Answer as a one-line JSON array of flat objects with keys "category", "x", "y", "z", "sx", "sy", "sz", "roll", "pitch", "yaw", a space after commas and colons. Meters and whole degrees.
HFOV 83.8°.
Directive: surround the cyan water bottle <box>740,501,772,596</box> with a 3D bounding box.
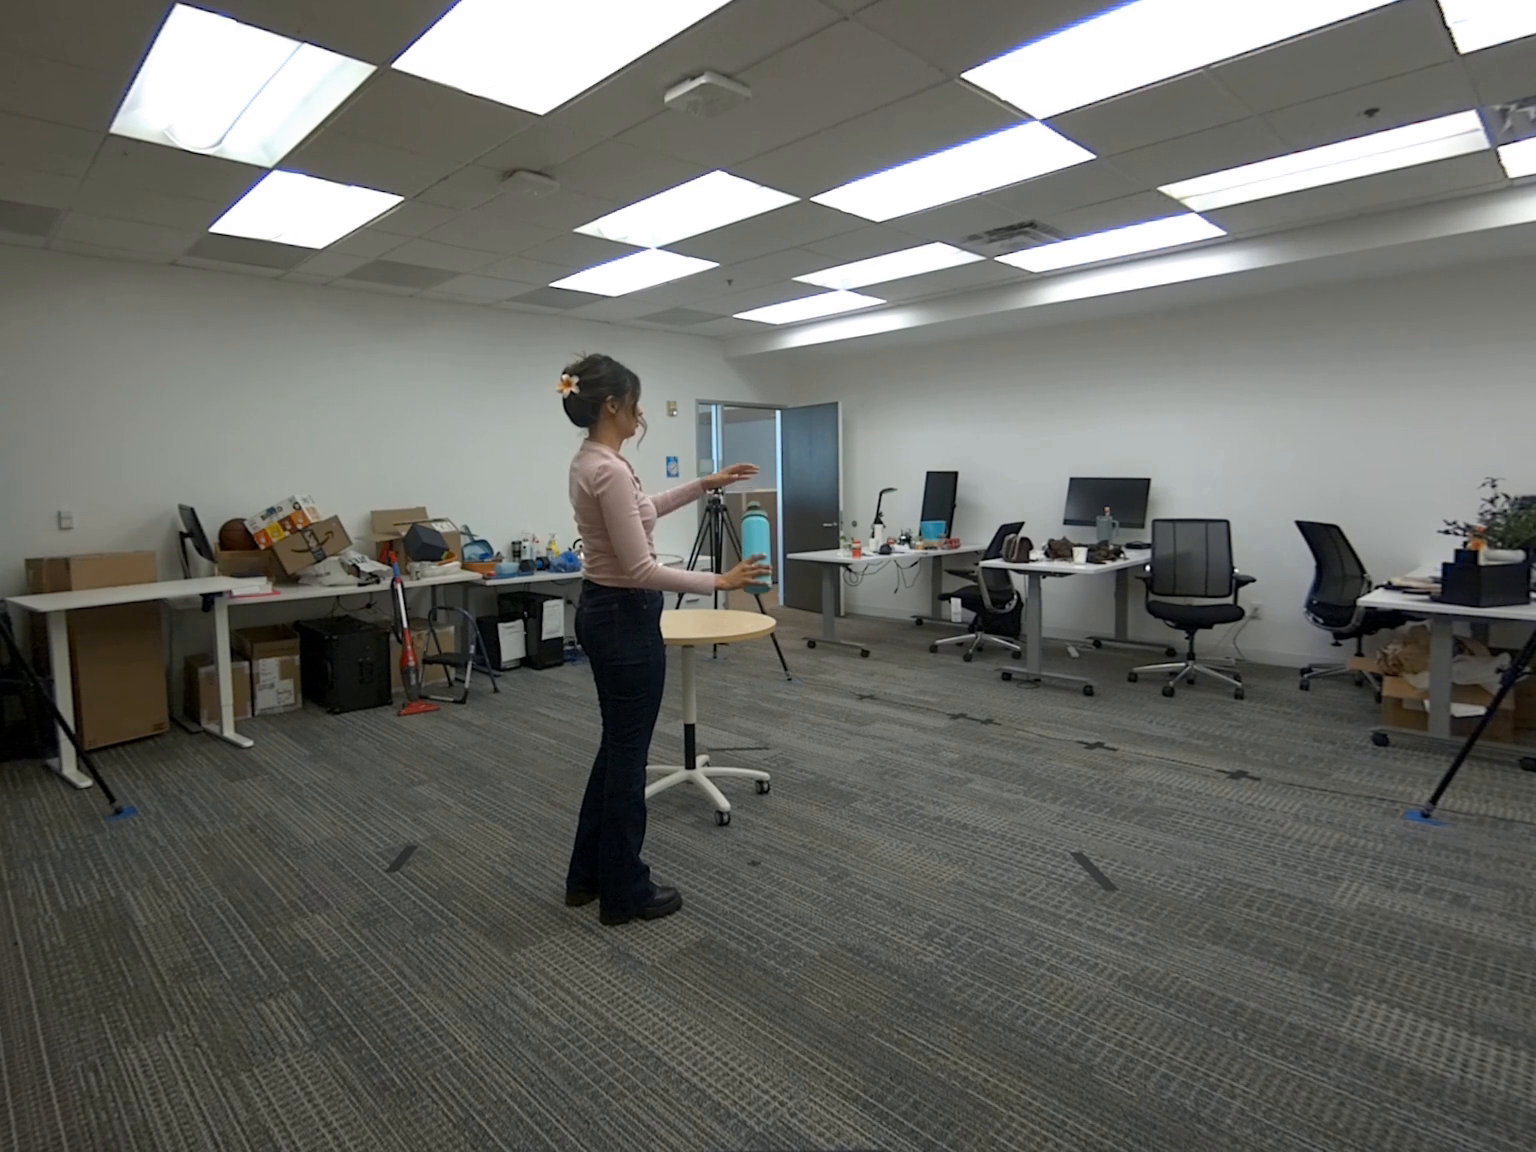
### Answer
[{"category": "cyan water bottle", "x": -0.039, "y": -0.094, "z": 2.657, "sx": 0.092, "sy": 0.288, "sz": 0.091, "roll": 0, "pitch": -20, "yaw": -2}]
